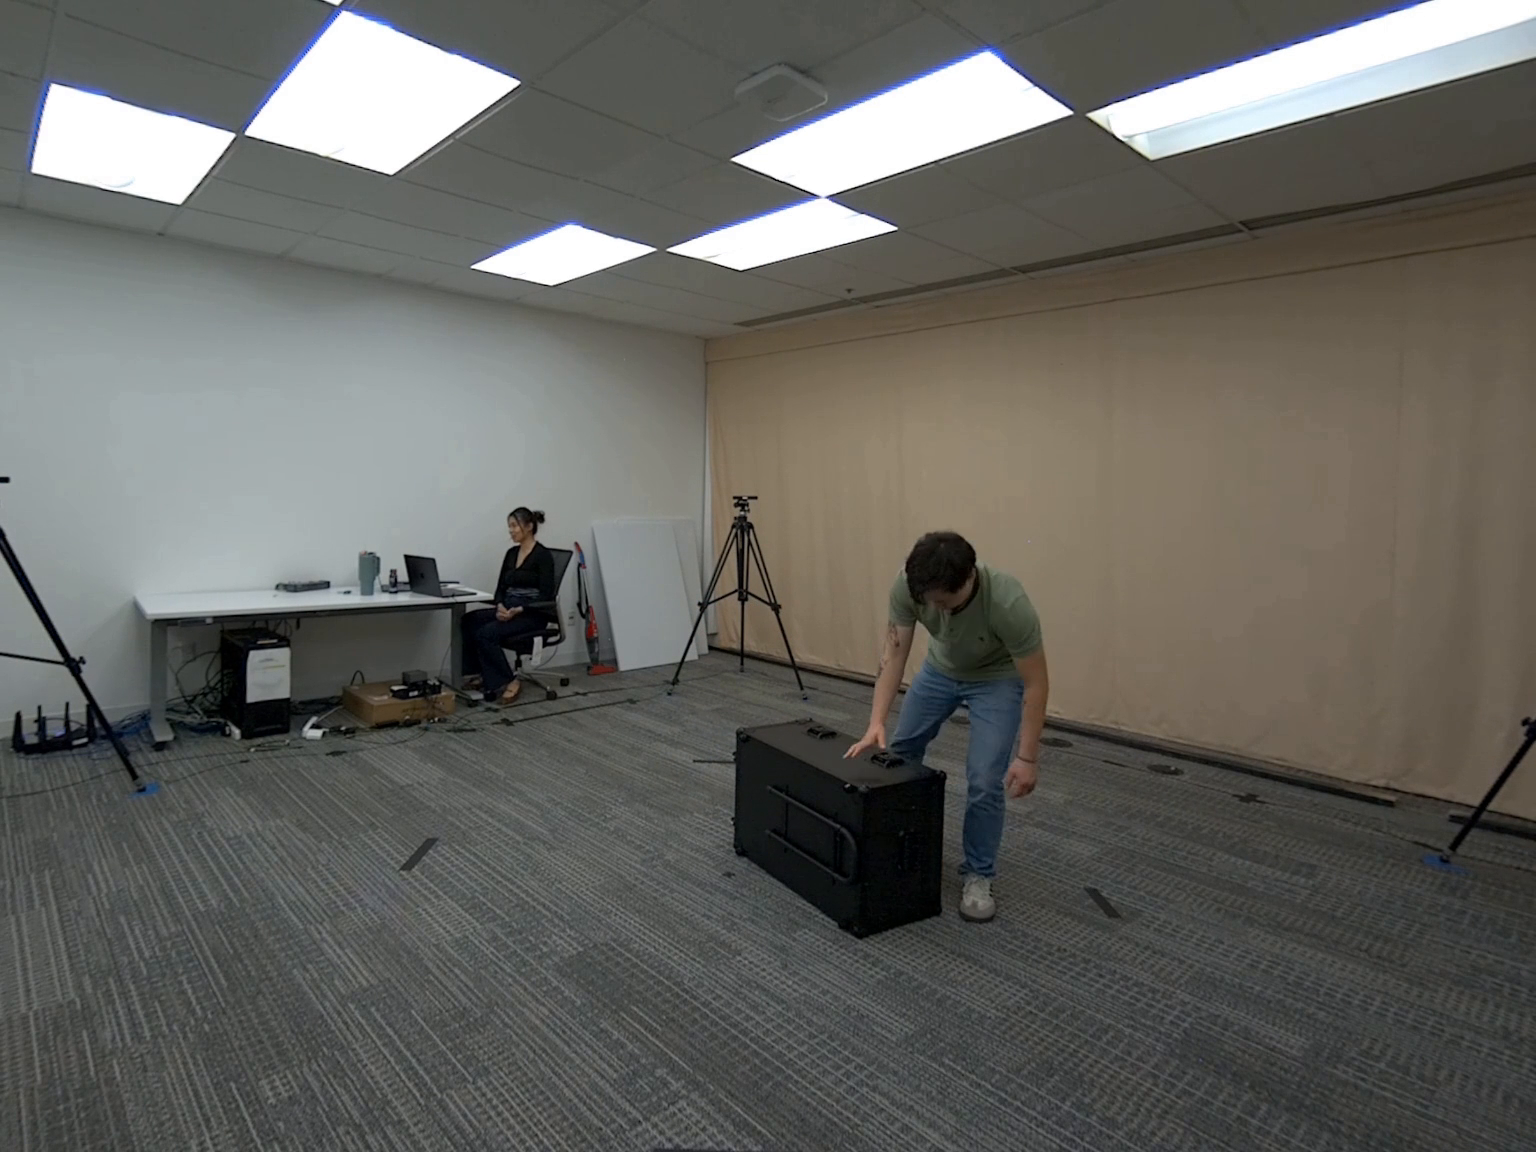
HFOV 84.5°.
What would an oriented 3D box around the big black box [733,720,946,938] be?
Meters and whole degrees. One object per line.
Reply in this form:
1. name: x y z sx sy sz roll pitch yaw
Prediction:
1. big black box: 0.193 0.871 3.095 0.388 0.520 0.881 -1 5 -31
